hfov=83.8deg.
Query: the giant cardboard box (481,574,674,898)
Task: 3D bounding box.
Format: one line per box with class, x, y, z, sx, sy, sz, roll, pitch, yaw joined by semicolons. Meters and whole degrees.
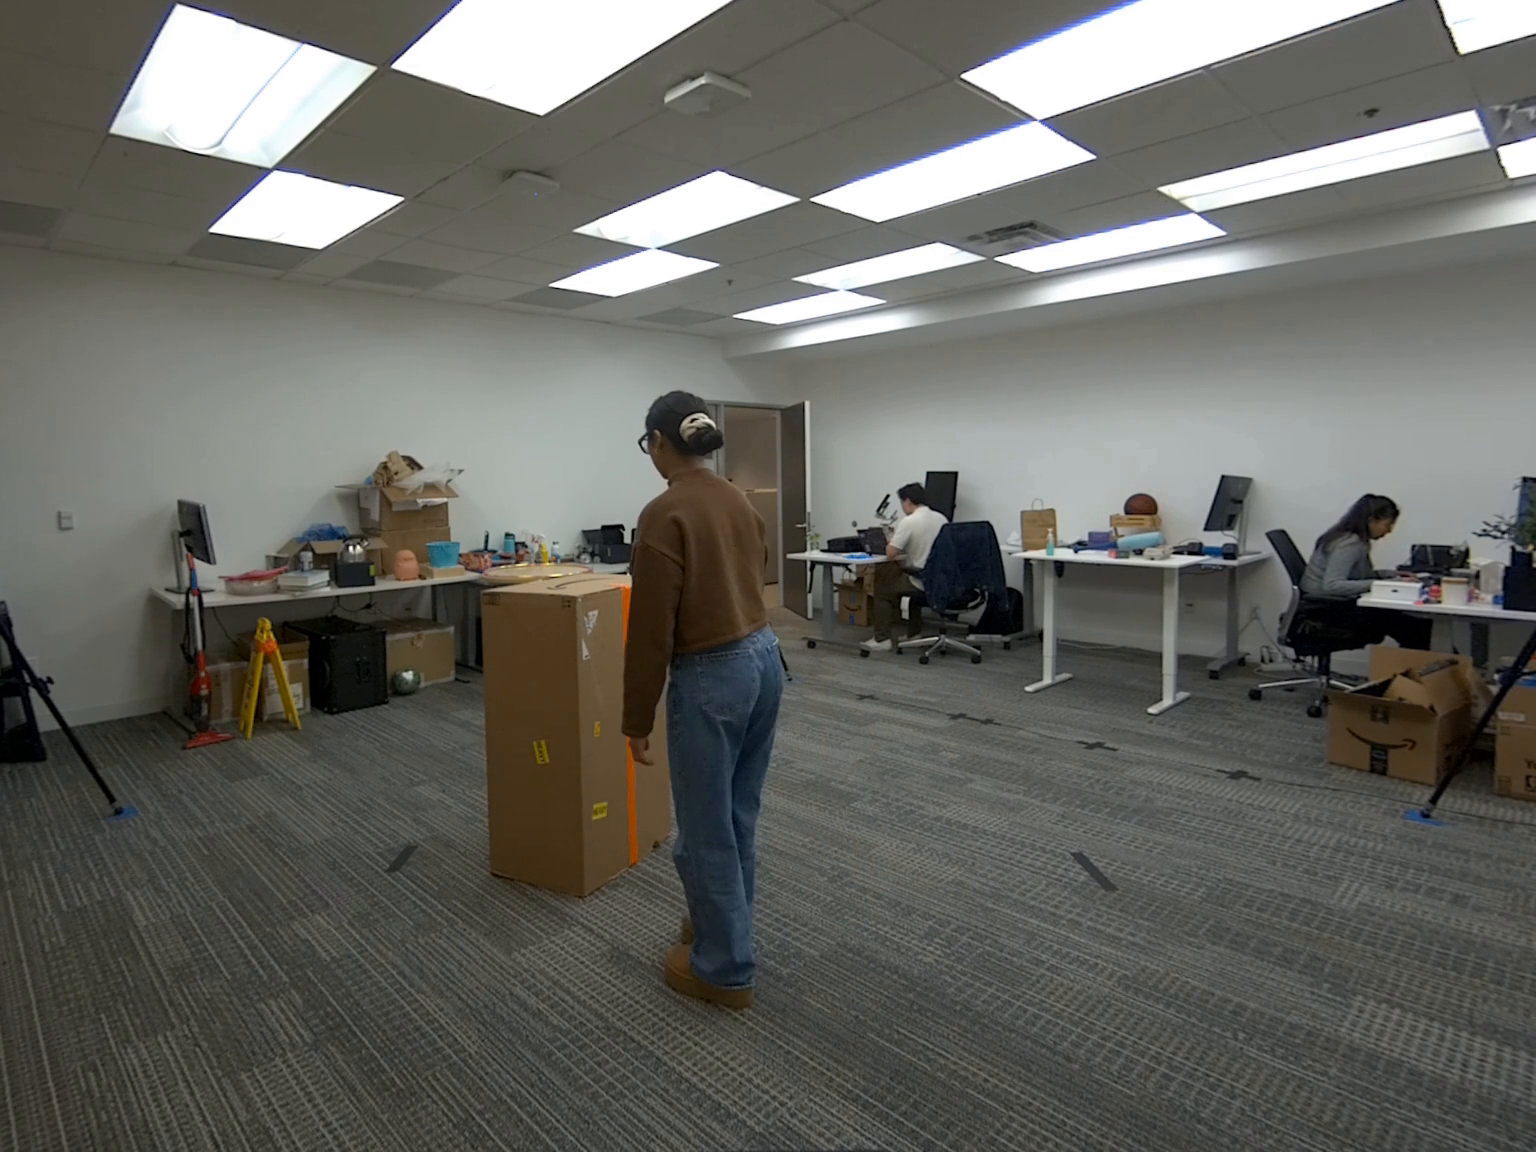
giant cardboard box;-0.698;0.535;3.190;0.436;1.022;0.566;1;4;26
